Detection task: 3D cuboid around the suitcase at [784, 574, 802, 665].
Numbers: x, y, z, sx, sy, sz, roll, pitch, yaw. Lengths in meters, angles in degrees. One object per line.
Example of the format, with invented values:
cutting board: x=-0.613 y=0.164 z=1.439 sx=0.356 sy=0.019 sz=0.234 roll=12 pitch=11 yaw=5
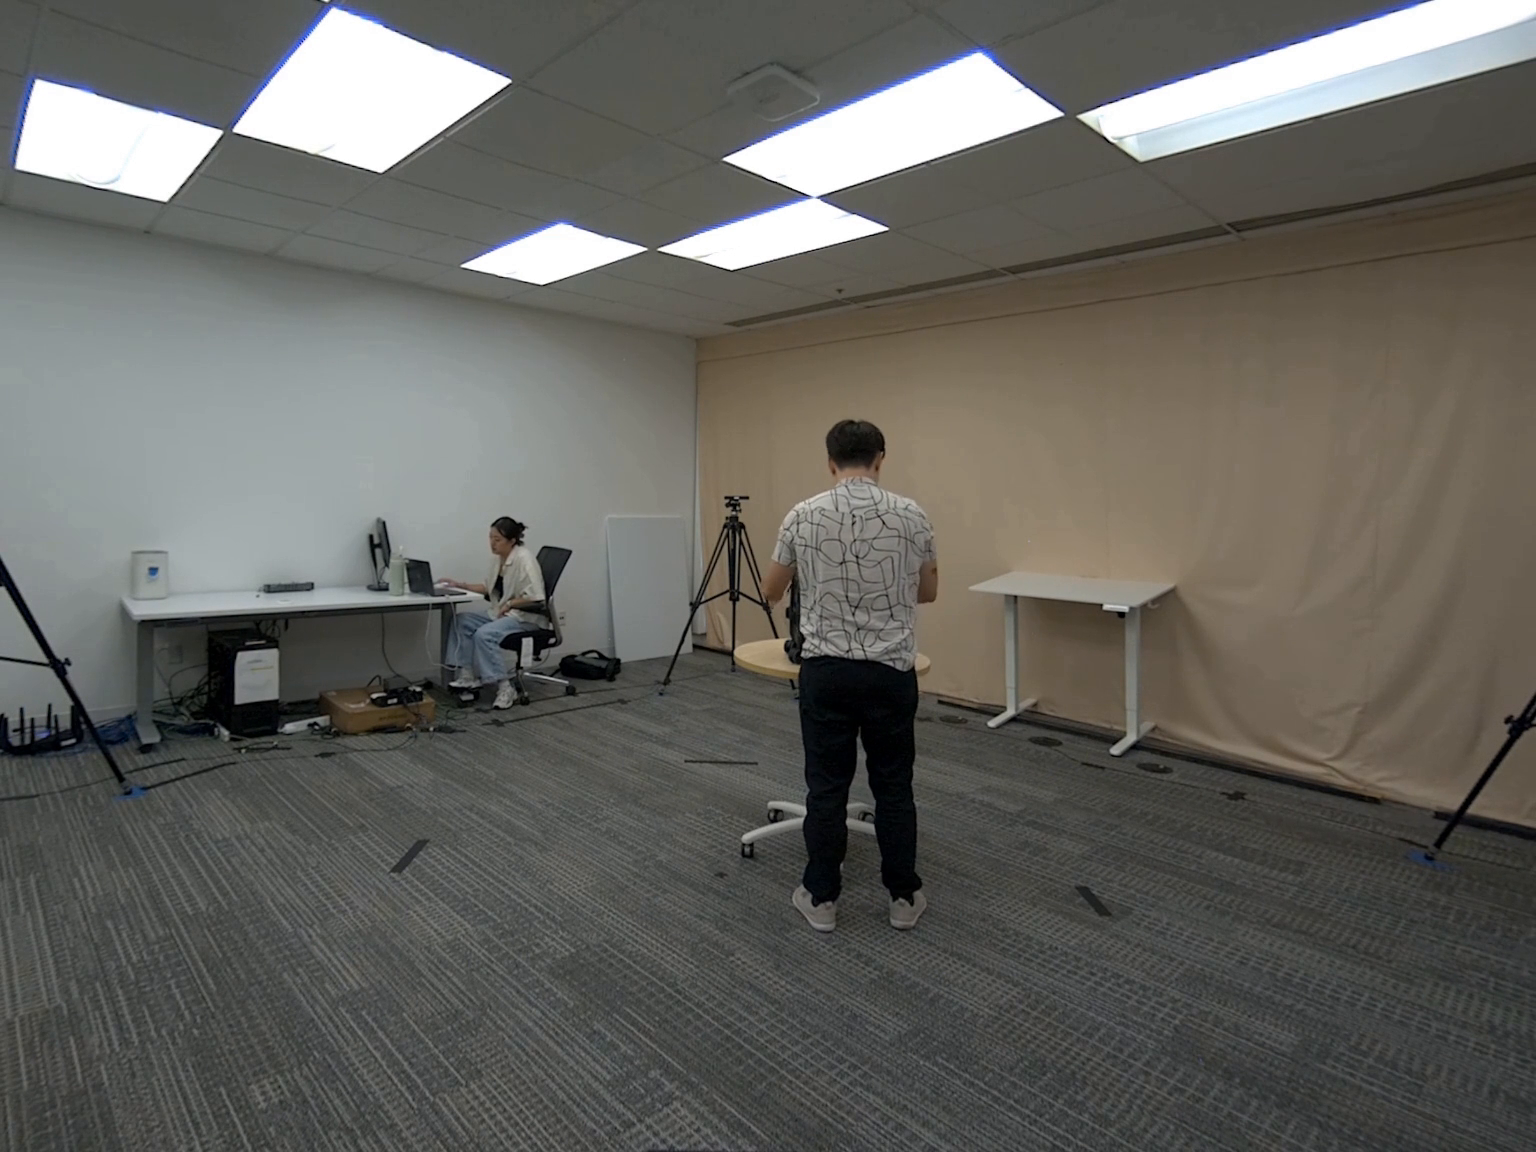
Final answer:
suitcase: x=0.276 y=0.045 z=3.209 sx=0.375 sy=0.549 sz=0.249 roll=3 pitch=1 yaw=-2
